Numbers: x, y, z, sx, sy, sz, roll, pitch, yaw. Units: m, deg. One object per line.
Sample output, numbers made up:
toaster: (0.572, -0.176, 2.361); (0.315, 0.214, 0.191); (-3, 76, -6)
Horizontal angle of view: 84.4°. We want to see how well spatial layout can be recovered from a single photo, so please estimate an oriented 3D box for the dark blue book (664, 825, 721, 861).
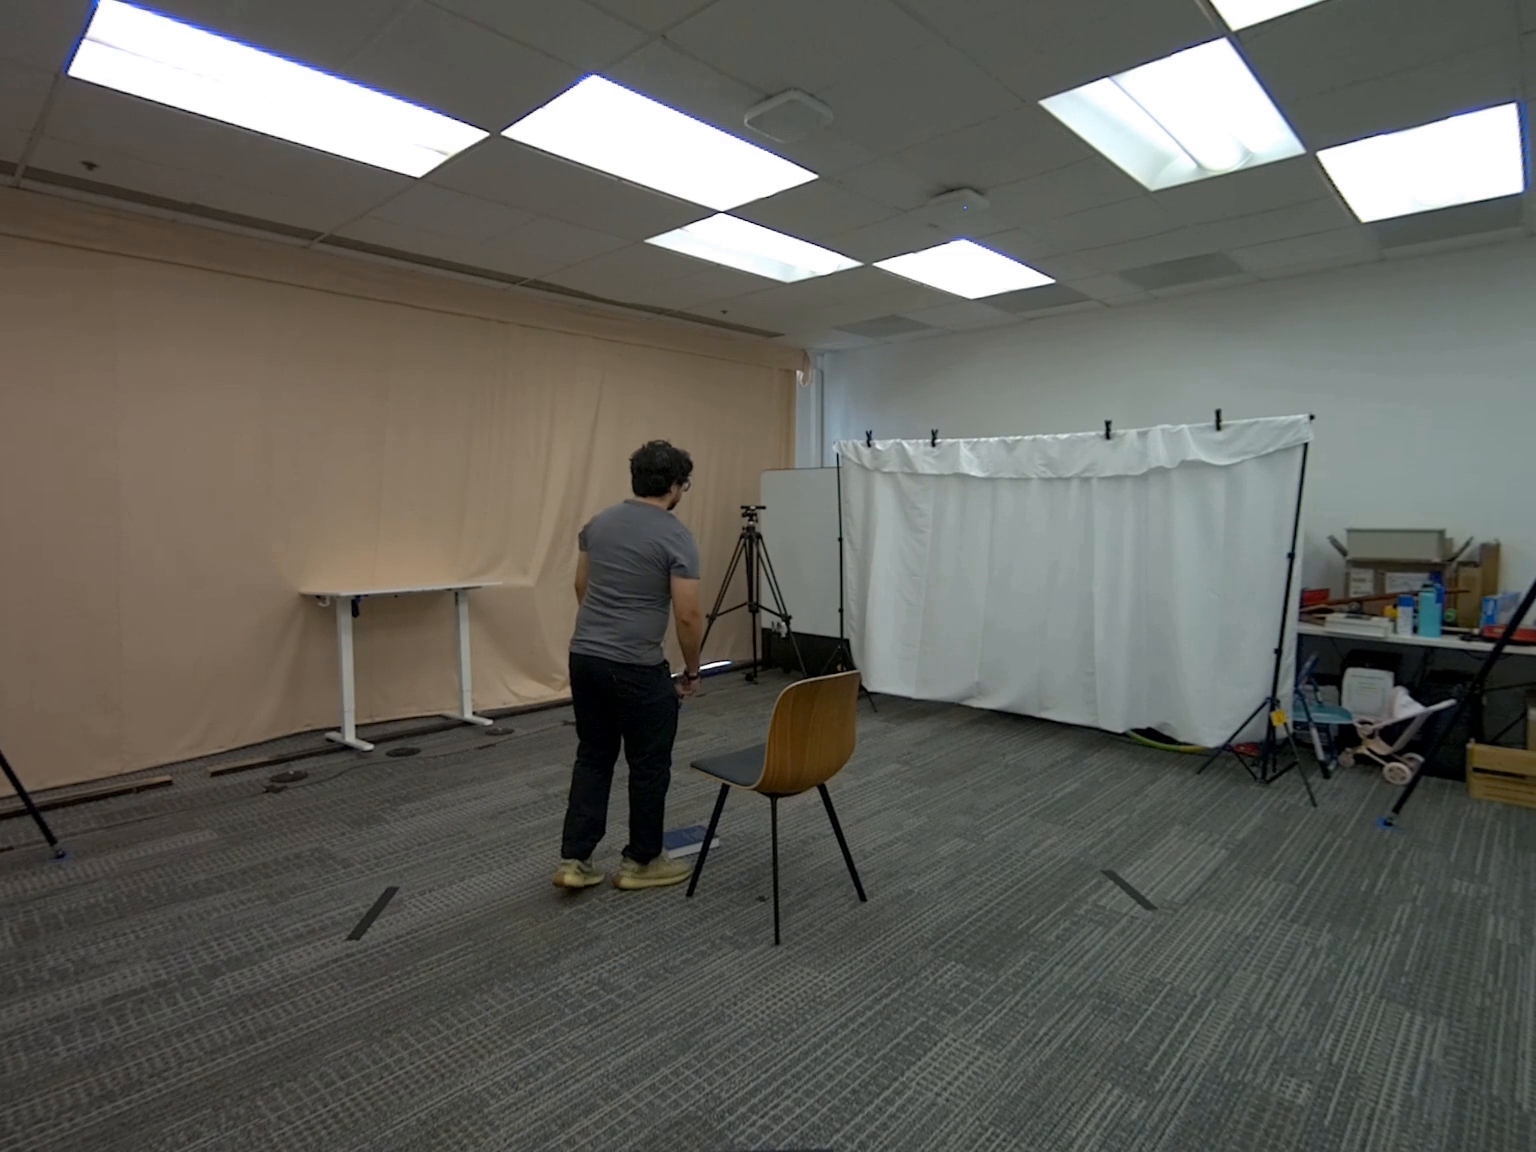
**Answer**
dark blue book: (-0.340, 1.083, 3.433); (0.238, 0.045, 0.168); (-3, 5, -34)
